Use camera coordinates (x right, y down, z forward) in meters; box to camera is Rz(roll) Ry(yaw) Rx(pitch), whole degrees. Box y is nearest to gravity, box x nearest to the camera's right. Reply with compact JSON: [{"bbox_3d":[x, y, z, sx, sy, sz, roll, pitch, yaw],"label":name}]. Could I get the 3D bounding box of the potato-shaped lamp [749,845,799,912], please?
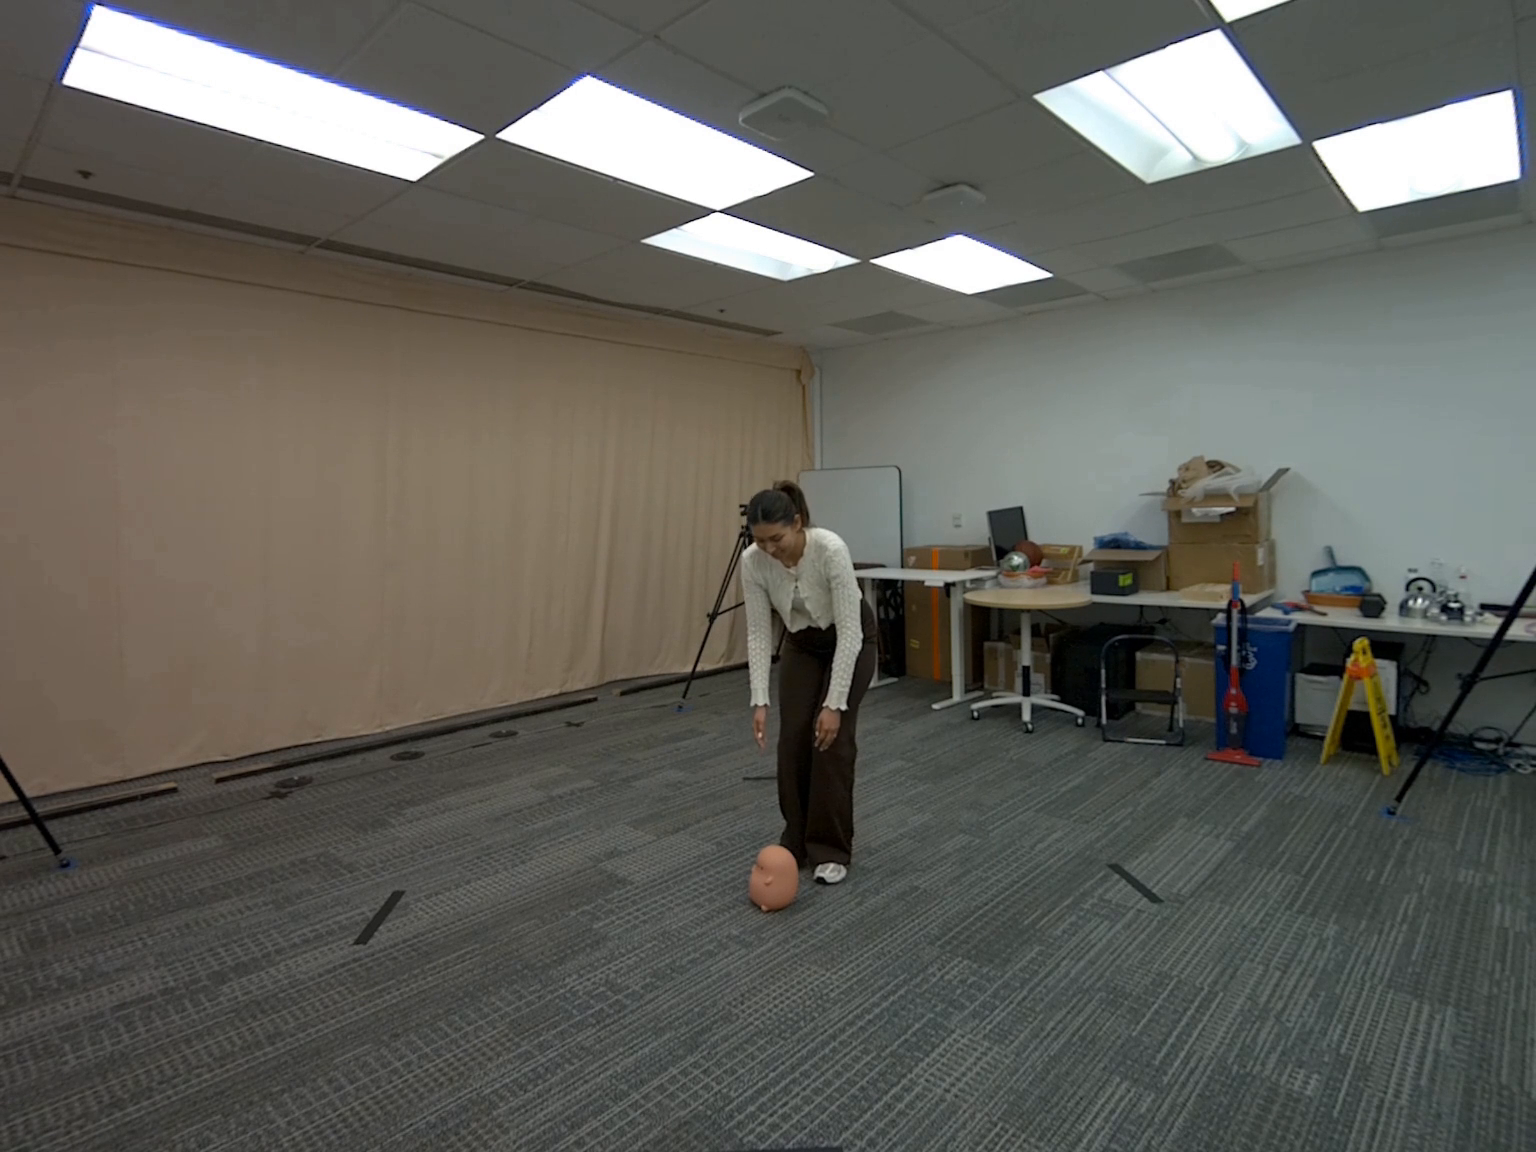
[{"bbox_3d":[0.023,1.043,2.931,0.168,0.197,0.169,-4,6,-22],"label":"potato-shaped lamp"}]
